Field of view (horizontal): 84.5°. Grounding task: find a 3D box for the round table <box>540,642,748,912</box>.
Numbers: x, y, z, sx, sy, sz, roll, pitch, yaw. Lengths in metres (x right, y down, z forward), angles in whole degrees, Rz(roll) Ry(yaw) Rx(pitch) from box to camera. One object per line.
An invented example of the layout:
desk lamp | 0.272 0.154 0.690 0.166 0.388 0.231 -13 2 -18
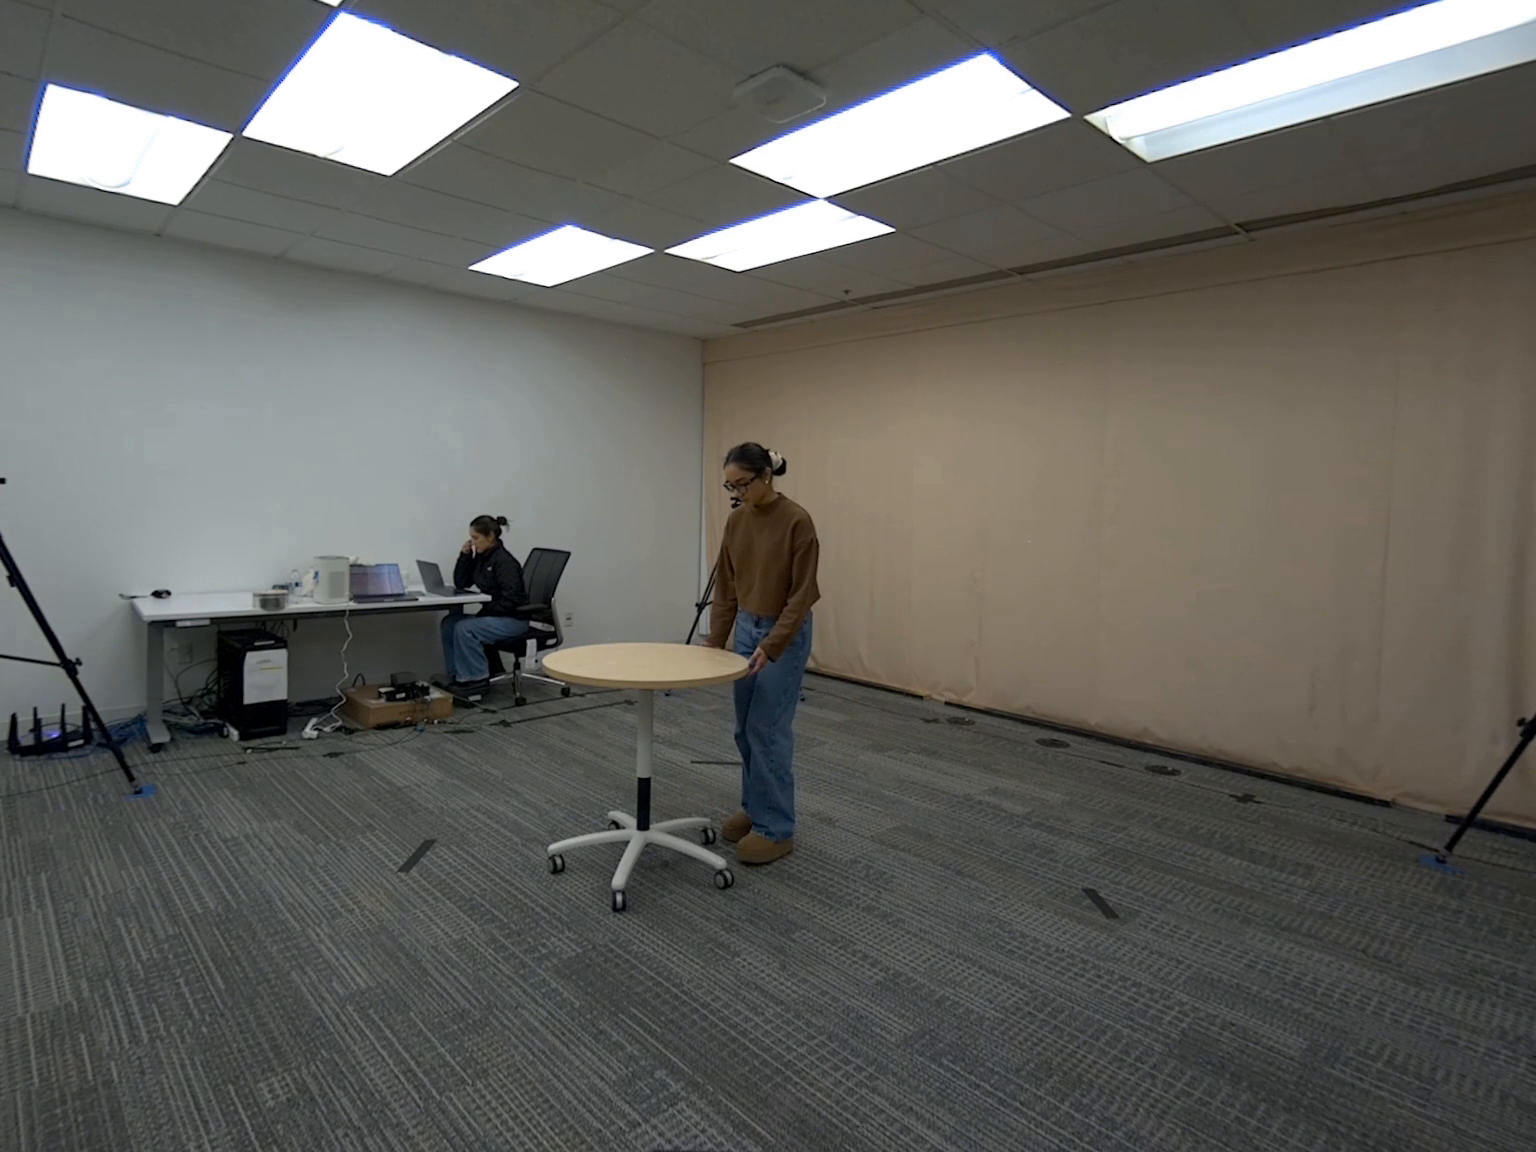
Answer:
round table | -0.465 0.706 3.155 0.763 0.792 0.766 2 4 -1
